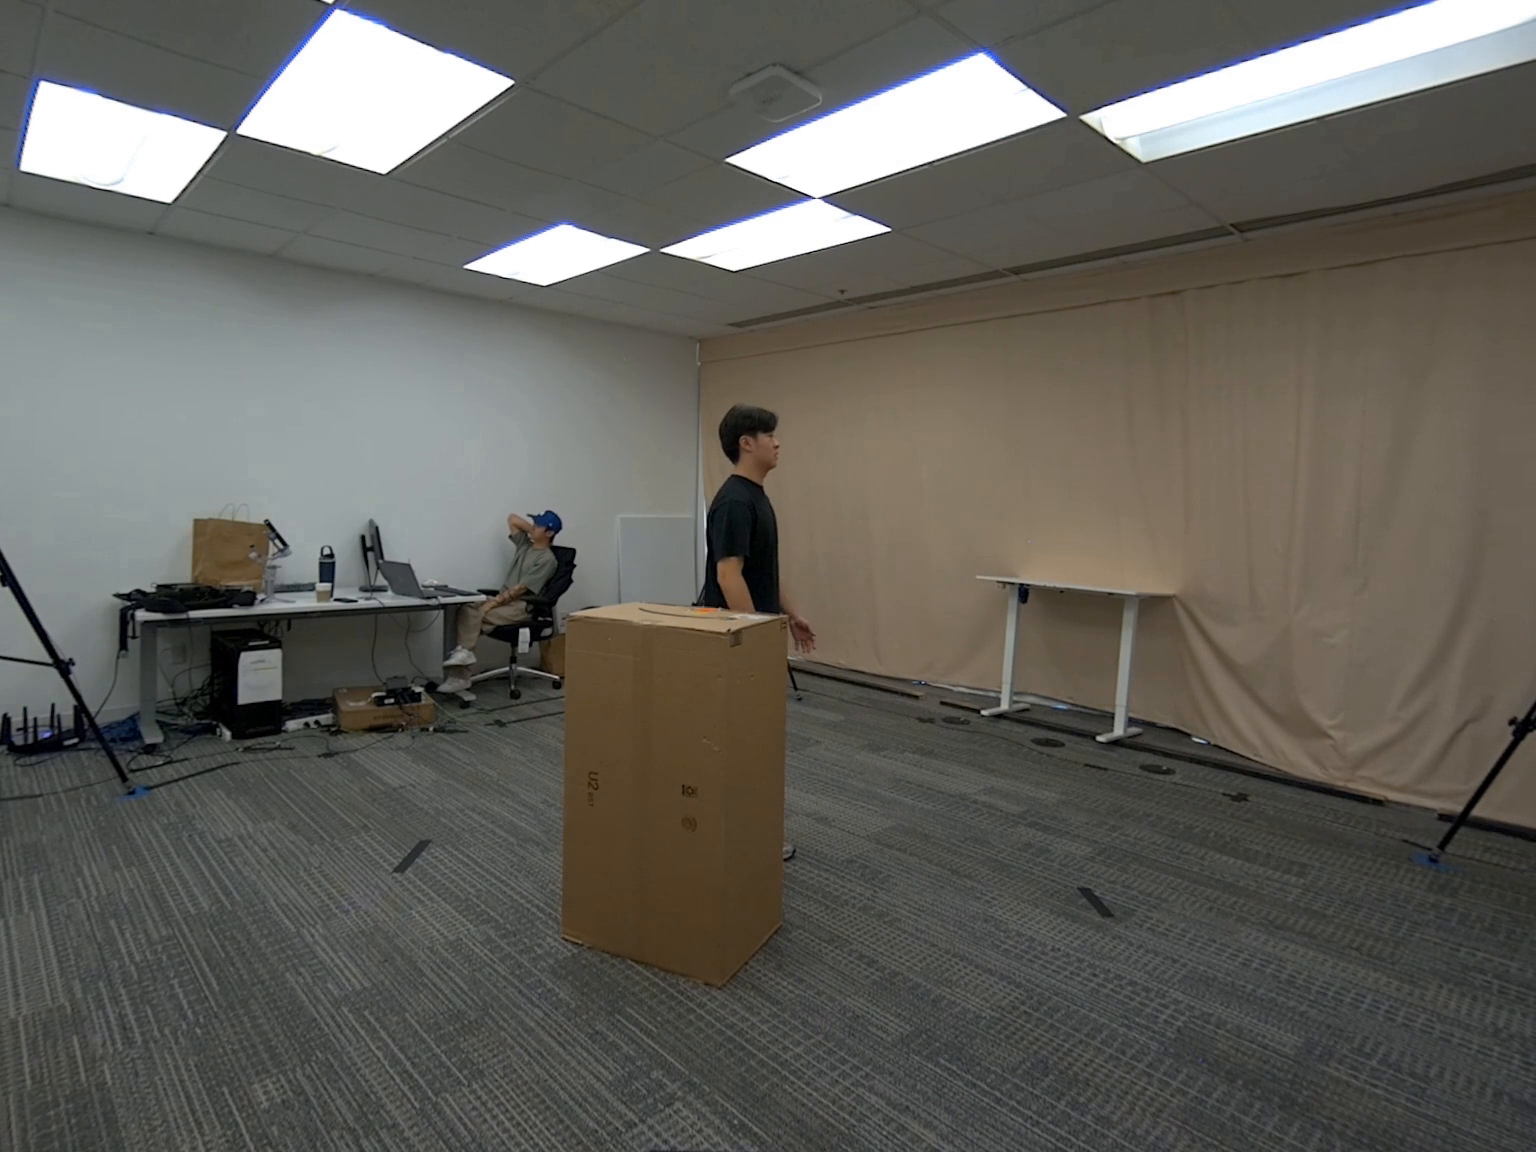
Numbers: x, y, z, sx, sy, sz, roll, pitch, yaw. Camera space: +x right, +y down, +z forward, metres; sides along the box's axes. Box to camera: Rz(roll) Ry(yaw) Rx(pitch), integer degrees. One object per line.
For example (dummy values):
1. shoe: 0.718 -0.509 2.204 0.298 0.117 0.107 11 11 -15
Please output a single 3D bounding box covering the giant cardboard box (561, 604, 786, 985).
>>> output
1. giant cardboard box: -0.296 0.630 2.676 0.596 1.025 0.438 3 3 28
